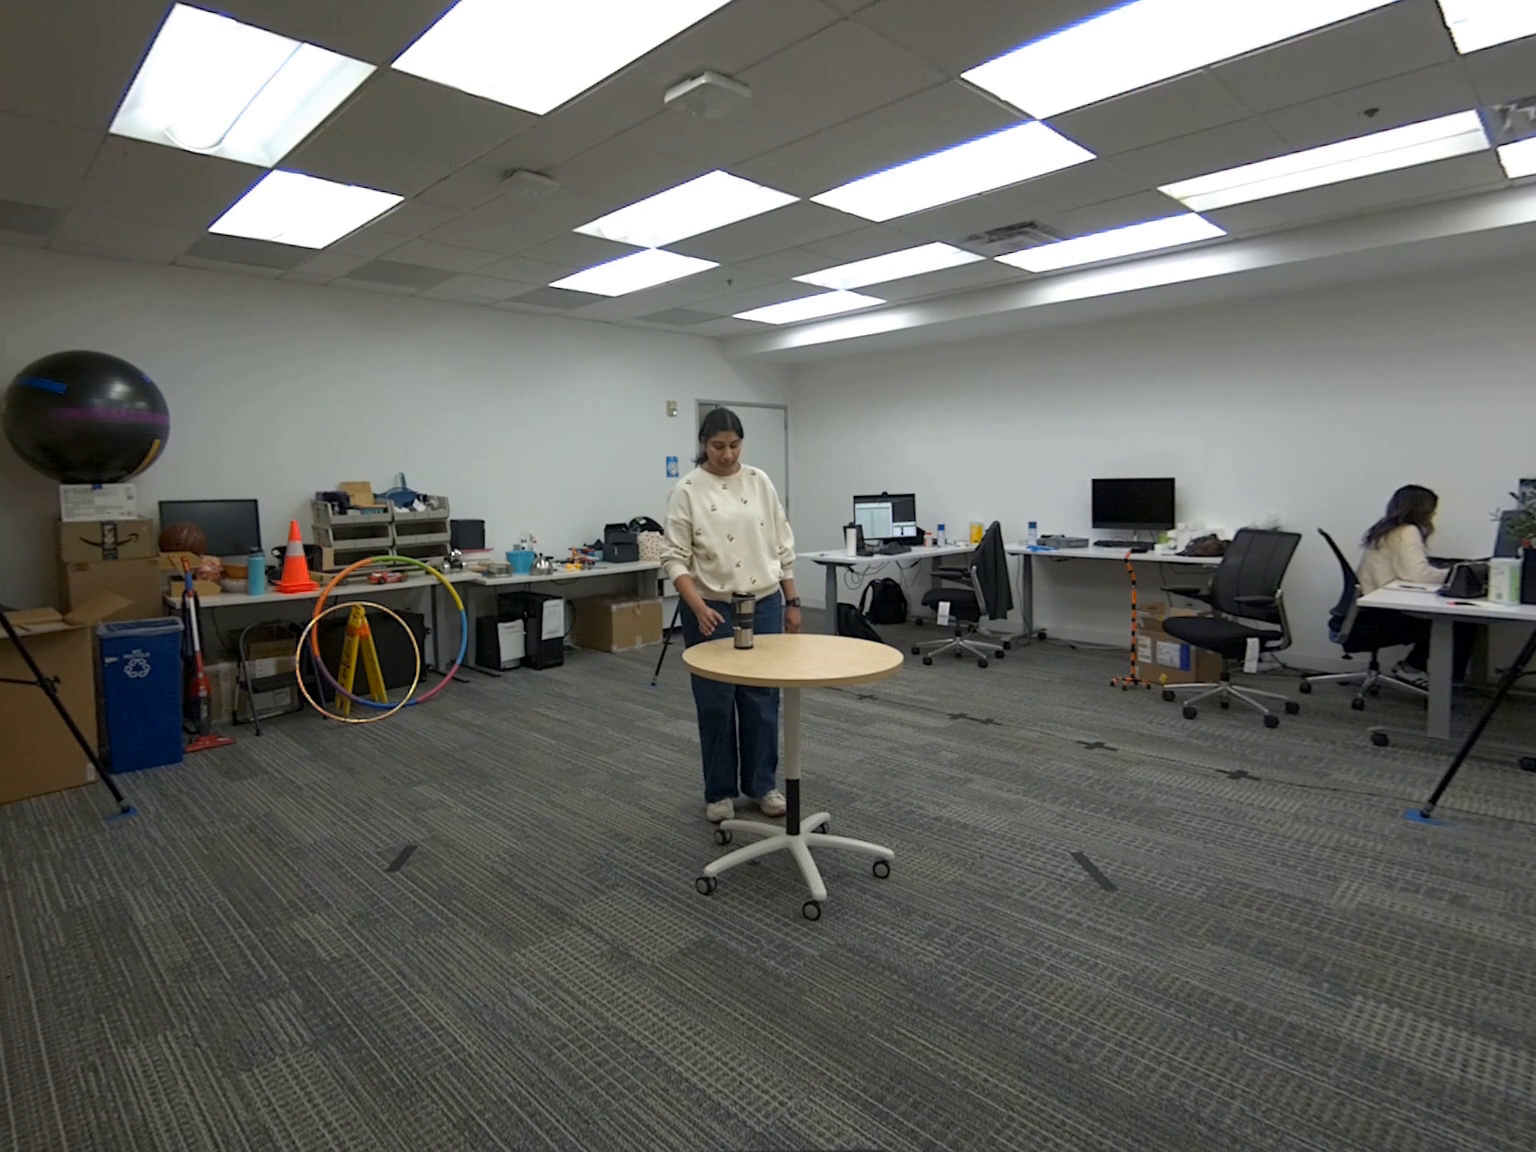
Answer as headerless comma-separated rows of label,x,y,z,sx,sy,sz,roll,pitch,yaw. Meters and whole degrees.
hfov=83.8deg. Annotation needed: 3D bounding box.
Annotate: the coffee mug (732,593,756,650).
coffee mug,-0.111,0.164,3.088,0.119,0.202,0.090,0,5,-29
